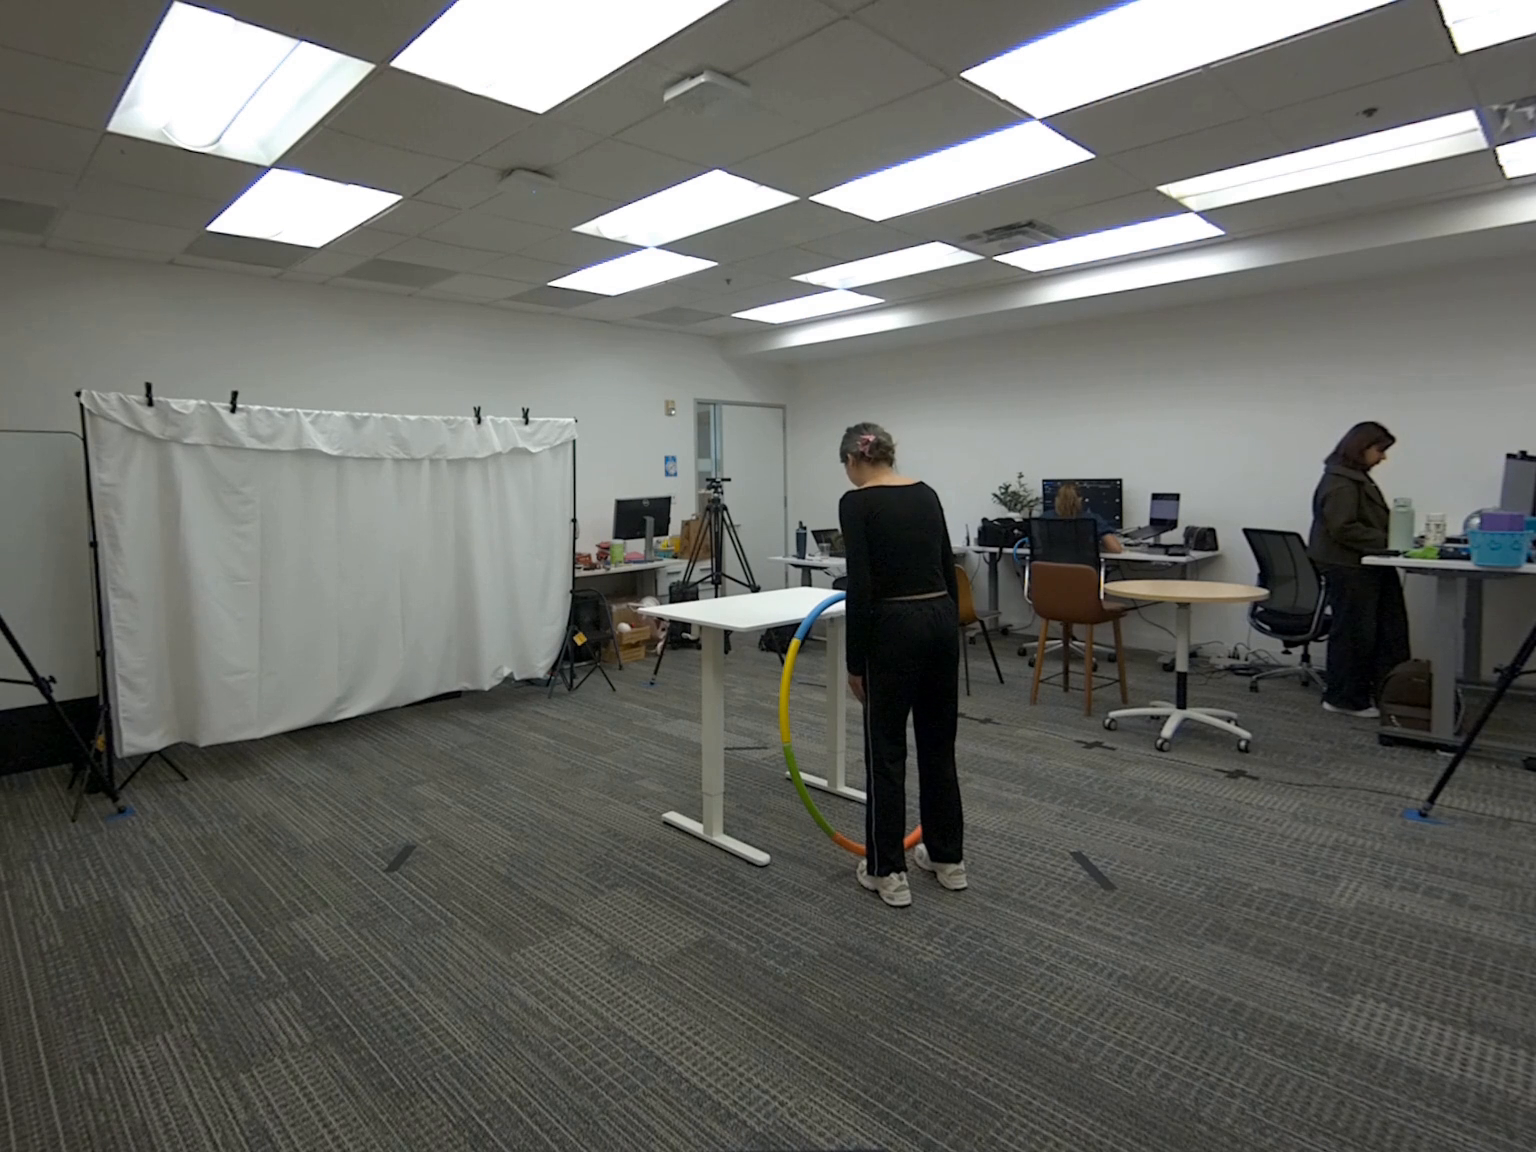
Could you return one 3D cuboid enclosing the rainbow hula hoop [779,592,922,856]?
[{"bbox_3d":[0.405,0.543,3.242,0.953,0.986,0.036,-6,-9,-44],"label":"rainbow hula hoop"}]
